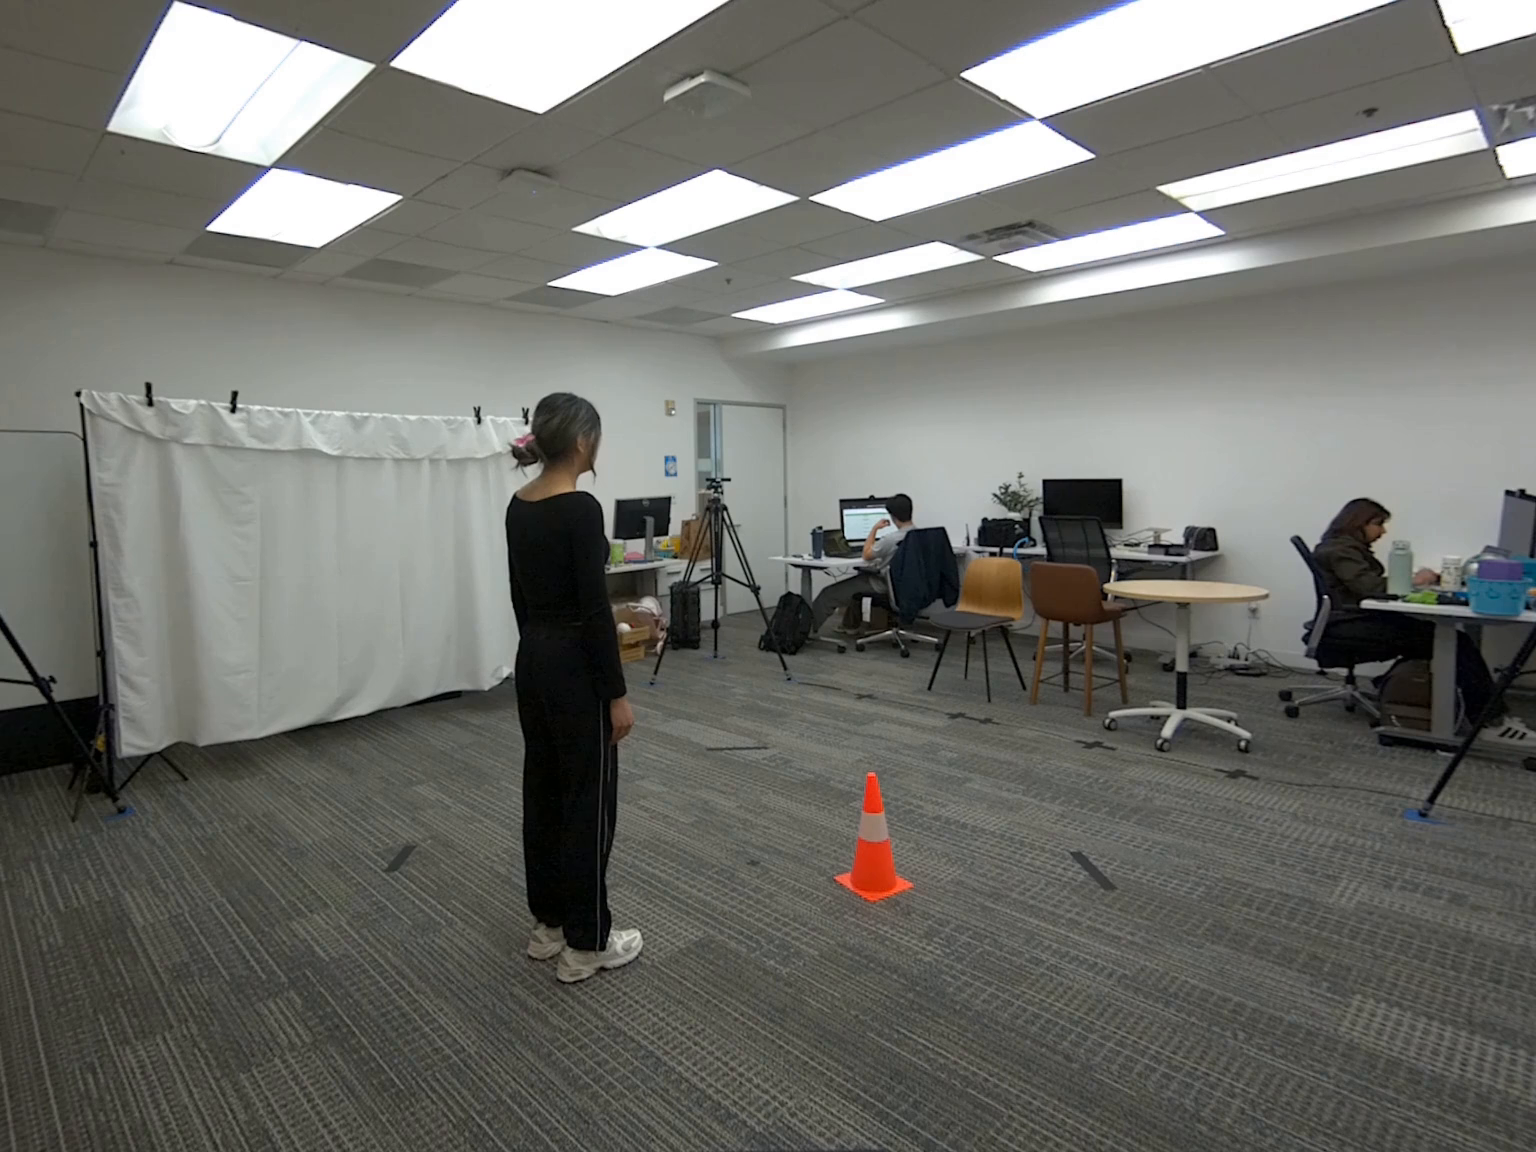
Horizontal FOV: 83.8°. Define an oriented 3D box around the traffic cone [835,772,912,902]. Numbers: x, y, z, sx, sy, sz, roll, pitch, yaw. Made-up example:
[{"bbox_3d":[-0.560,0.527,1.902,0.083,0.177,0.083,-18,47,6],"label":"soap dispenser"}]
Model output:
[{"bbox_3d":[0.365,0.870,2.930,0.198,0.382,0.211,-4,4,-34],"label":"traffic cone"}]
